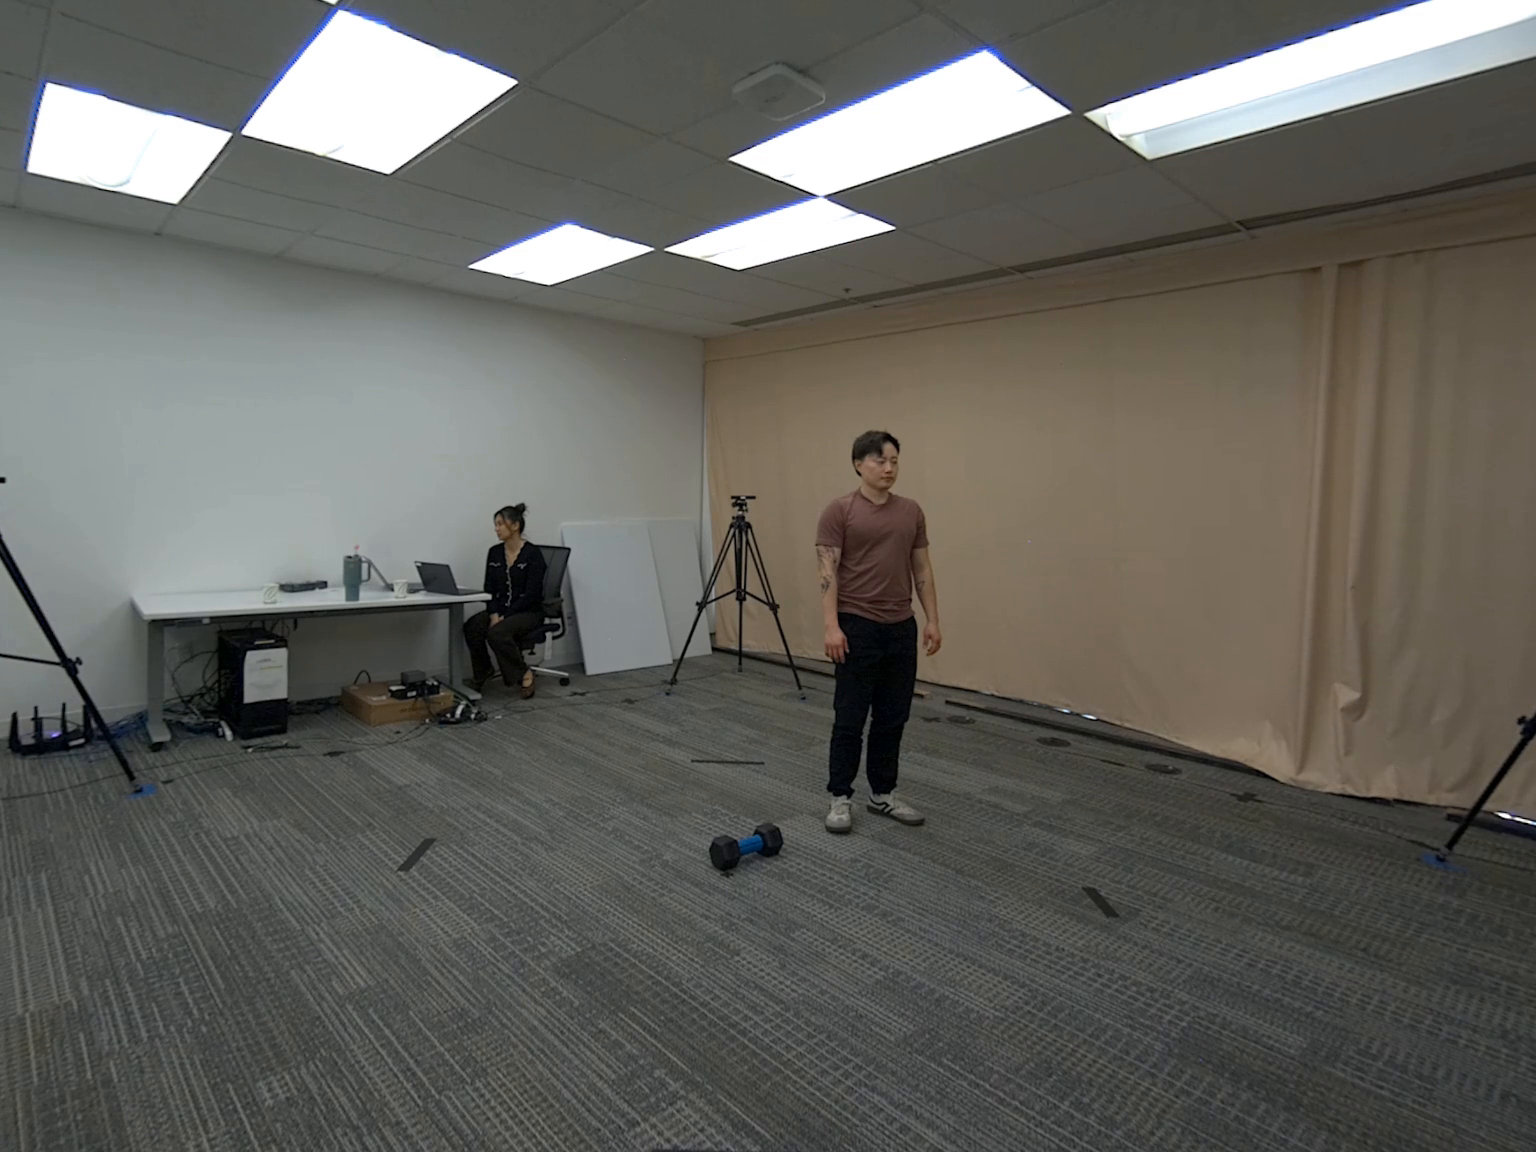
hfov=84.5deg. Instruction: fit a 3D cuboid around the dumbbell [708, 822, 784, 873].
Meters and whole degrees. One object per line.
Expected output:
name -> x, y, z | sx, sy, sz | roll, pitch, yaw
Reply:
dumbbell -> -0.088, 1.037, 3.229 | 0.287, 0.125, 0.109 | -4, -24, -40
